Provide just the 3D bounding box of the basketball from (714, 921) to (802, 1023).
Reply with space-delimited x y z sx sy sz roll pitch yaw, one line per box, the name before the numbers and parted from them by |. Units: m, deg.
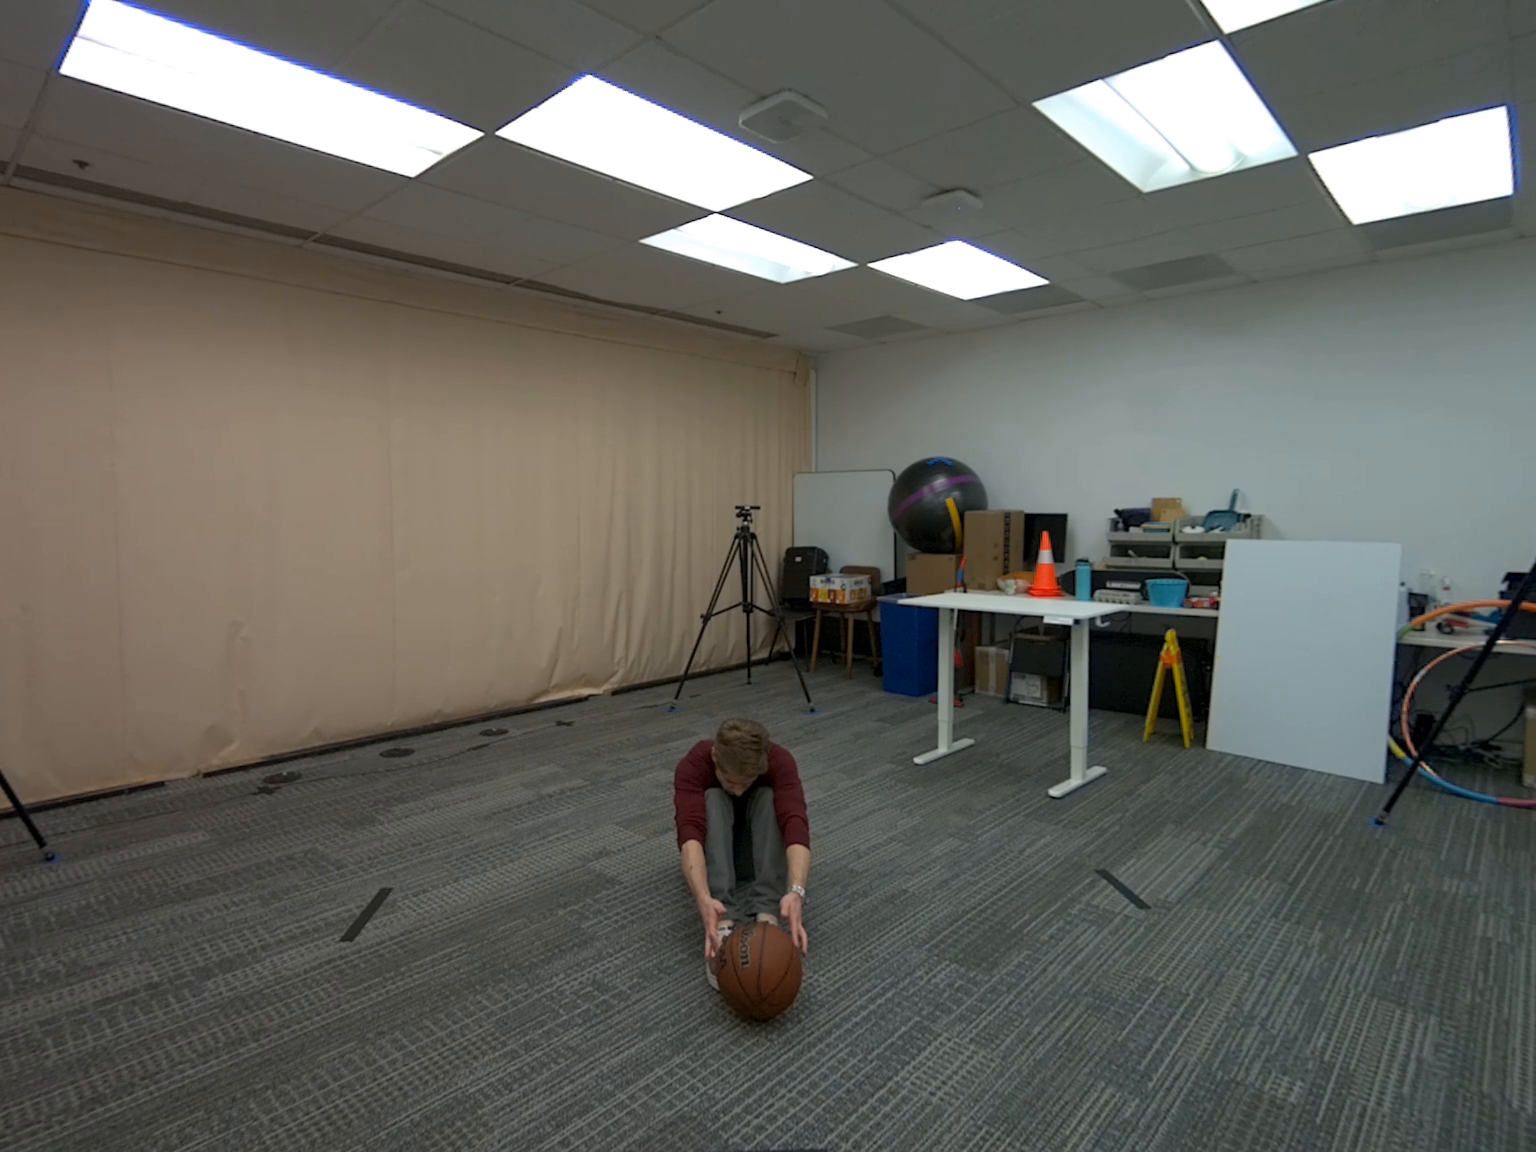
basketball | -0.019 1.073 2.310 0.236 0.235 0.237 0 4 -2
